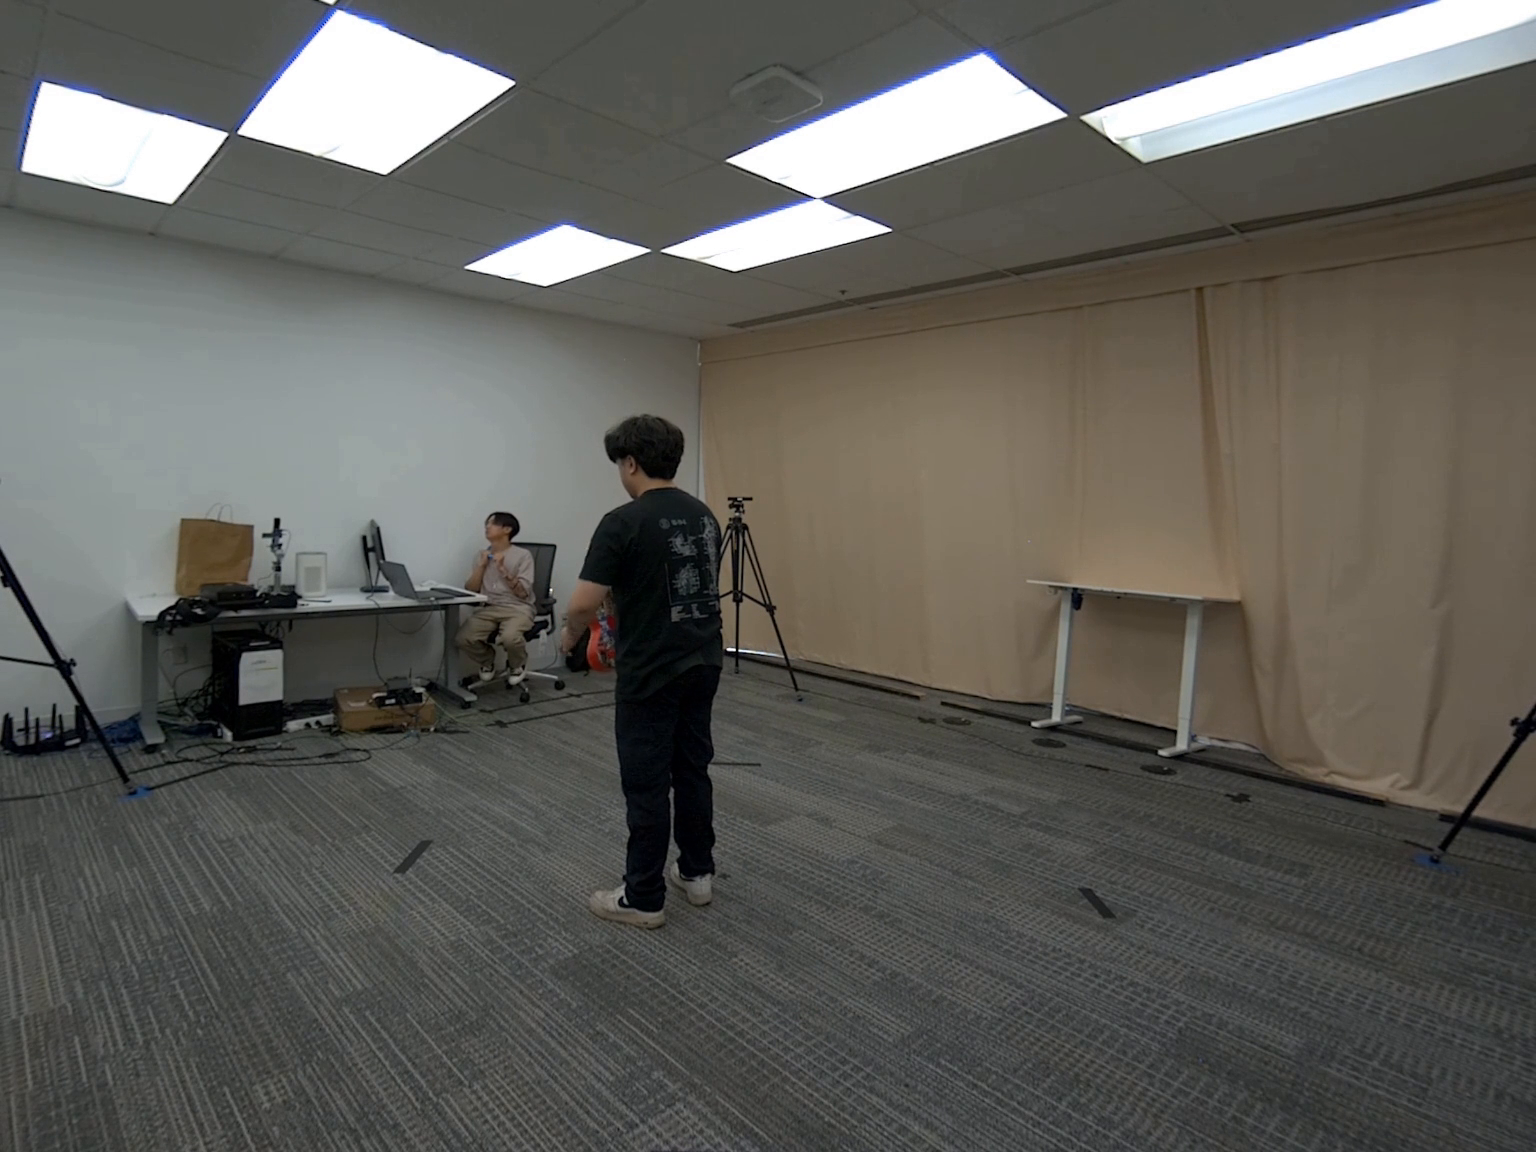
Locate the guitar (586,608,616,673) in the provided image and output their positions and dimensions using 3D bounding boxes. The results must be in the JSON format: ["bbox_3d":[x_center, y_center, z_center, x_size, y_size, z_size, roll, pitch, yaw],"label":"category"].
[{"bbox_3d":[-0.594,0.111,3.159,0.188,0.505,0.071,9,-24,-45],"label":"guitar"}]
